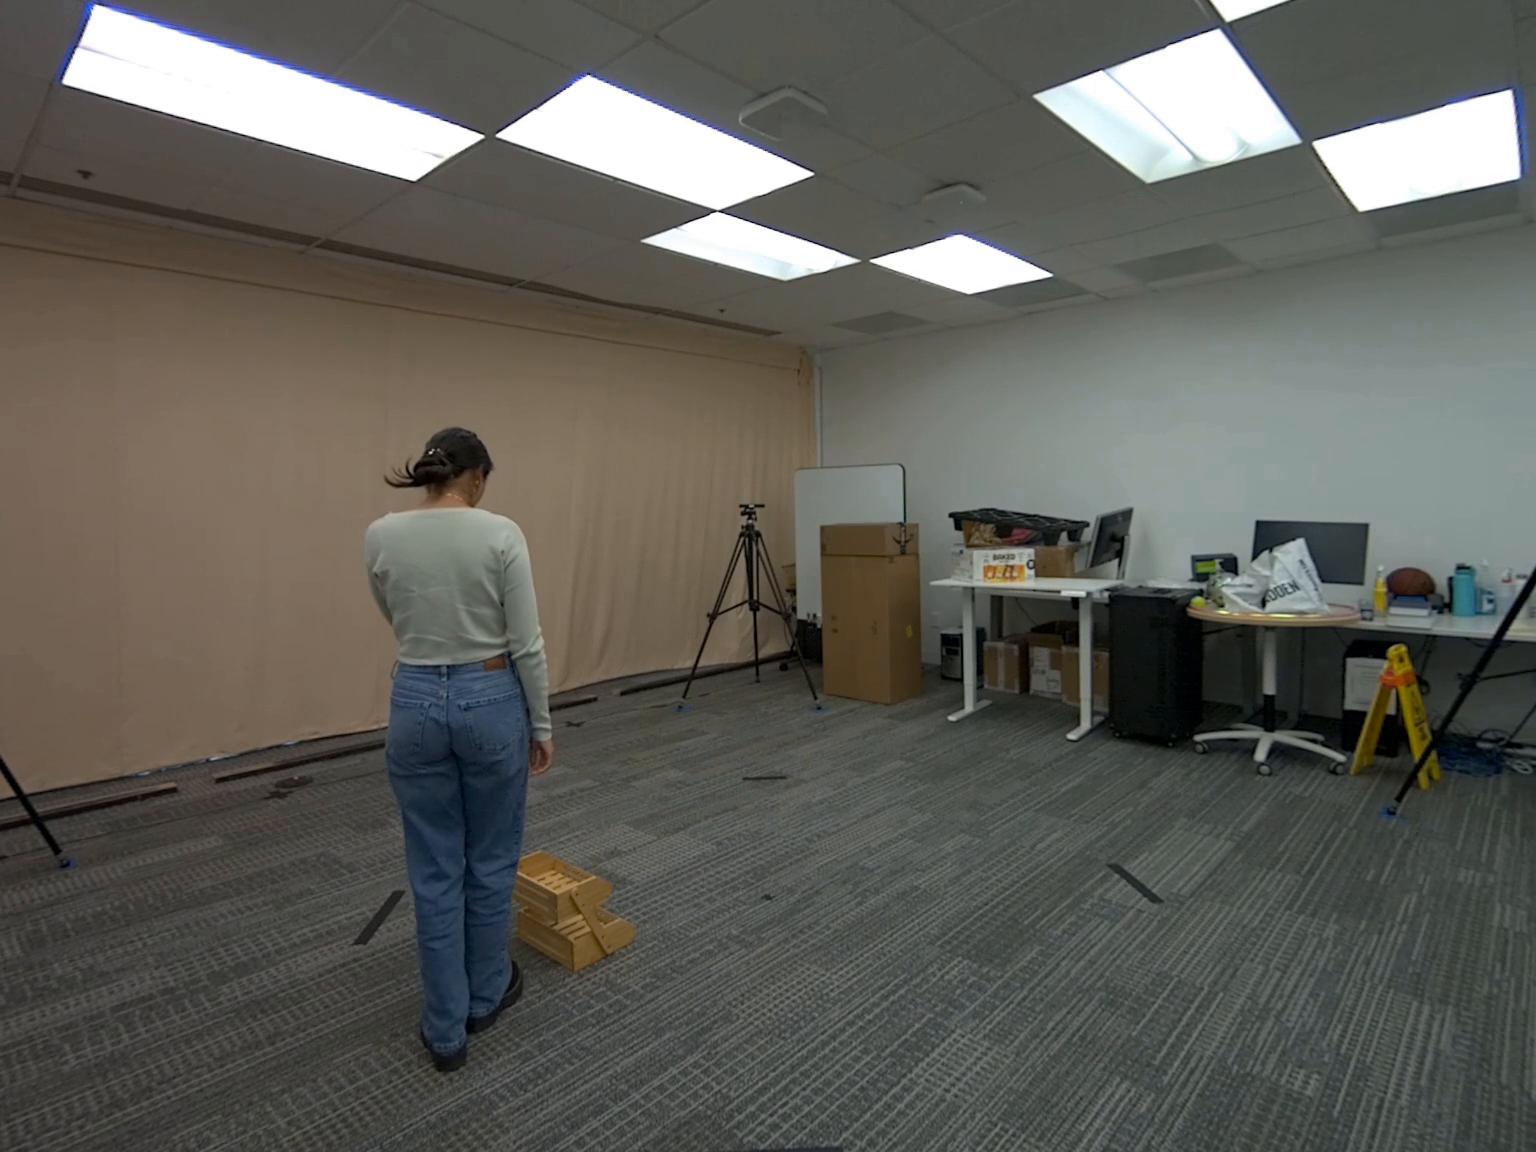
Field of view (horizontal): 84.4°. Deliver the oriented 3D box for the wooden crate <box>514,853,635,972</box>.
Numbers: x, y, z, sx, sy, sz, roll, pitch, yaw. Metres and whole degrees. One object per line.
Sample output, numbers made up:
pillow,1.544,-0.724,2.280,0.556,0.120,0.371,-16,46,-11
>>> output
wooden crate,-0.636,1.043,2.693,0.335,0.272,0.293,2,6,42
